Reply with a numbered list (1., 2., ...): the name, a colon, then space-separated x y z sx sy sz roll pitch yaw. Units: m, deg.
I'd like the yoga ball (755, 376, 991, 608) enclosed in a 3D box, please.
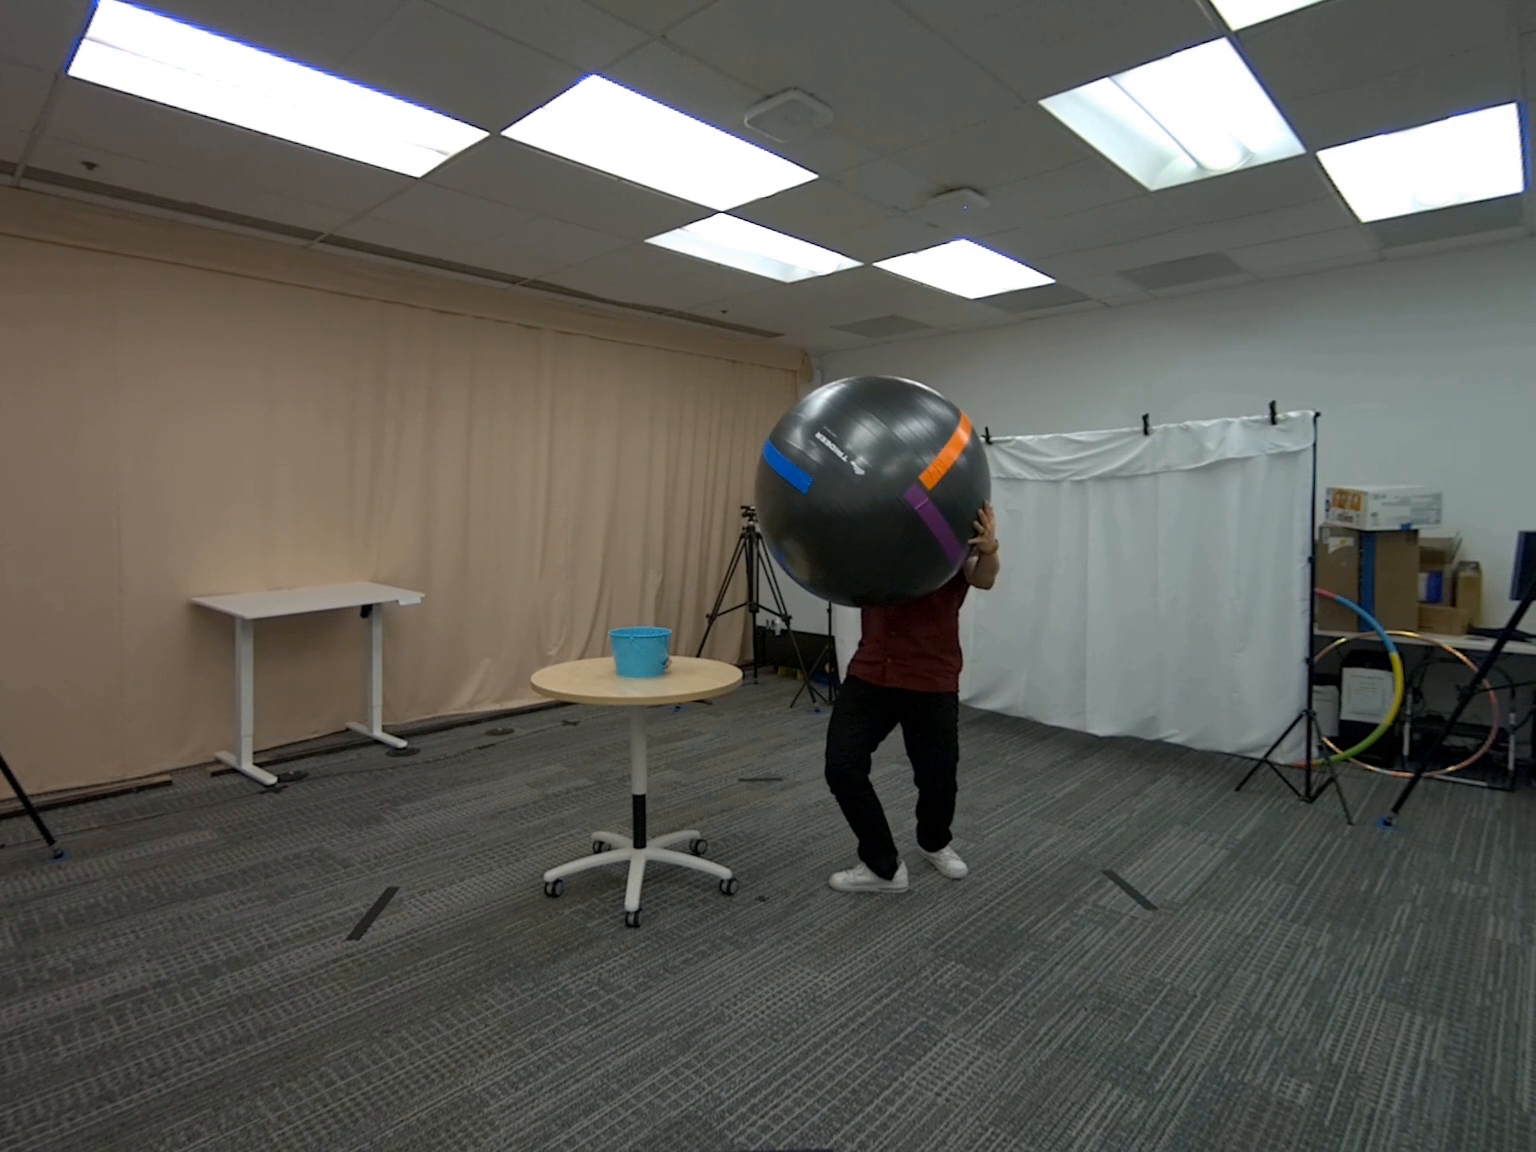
1. yoga ball: 0.333 -0.275 2.750 0.757 0.756 0.761 0 4 -2
